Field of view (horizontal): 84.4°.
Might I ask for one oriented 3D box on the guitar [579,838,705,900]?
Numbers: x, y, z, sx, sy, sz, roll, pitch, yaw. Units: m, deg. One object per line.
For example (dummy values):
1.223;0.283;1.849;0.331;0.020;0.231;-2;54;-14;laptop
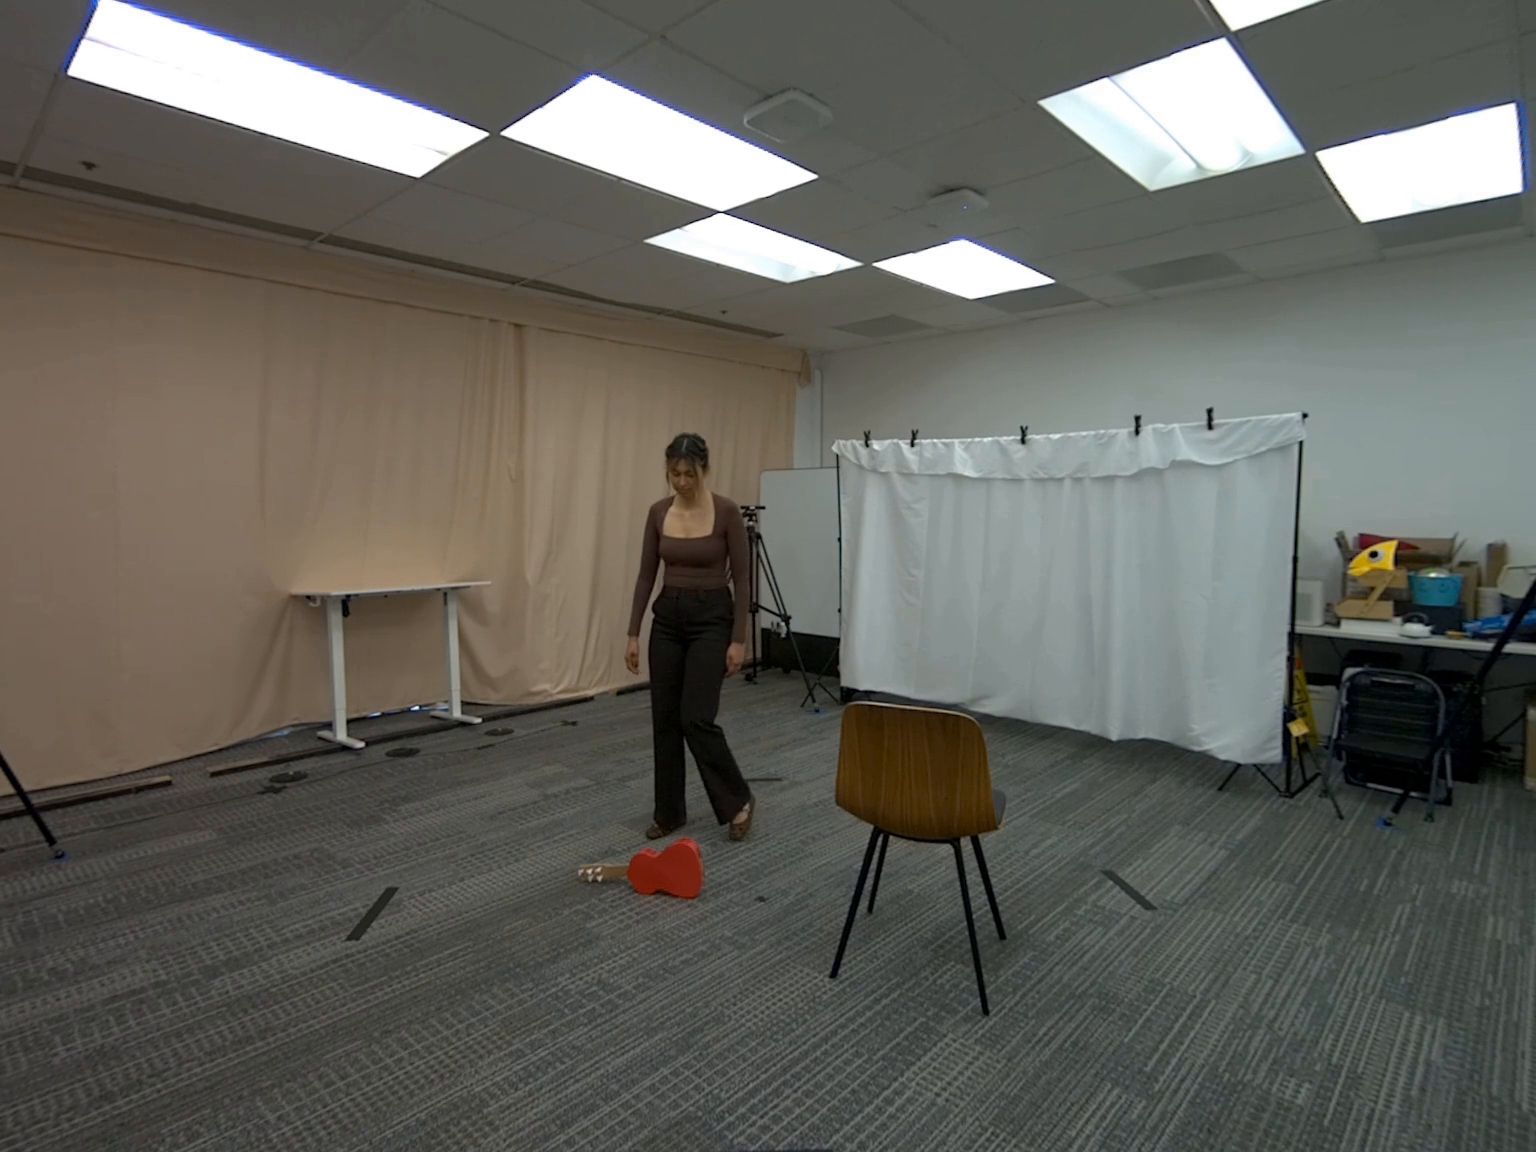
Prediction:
-0.467;1.101;3.063;0.504;0.193;0.069;-17;-2;15;guitar
